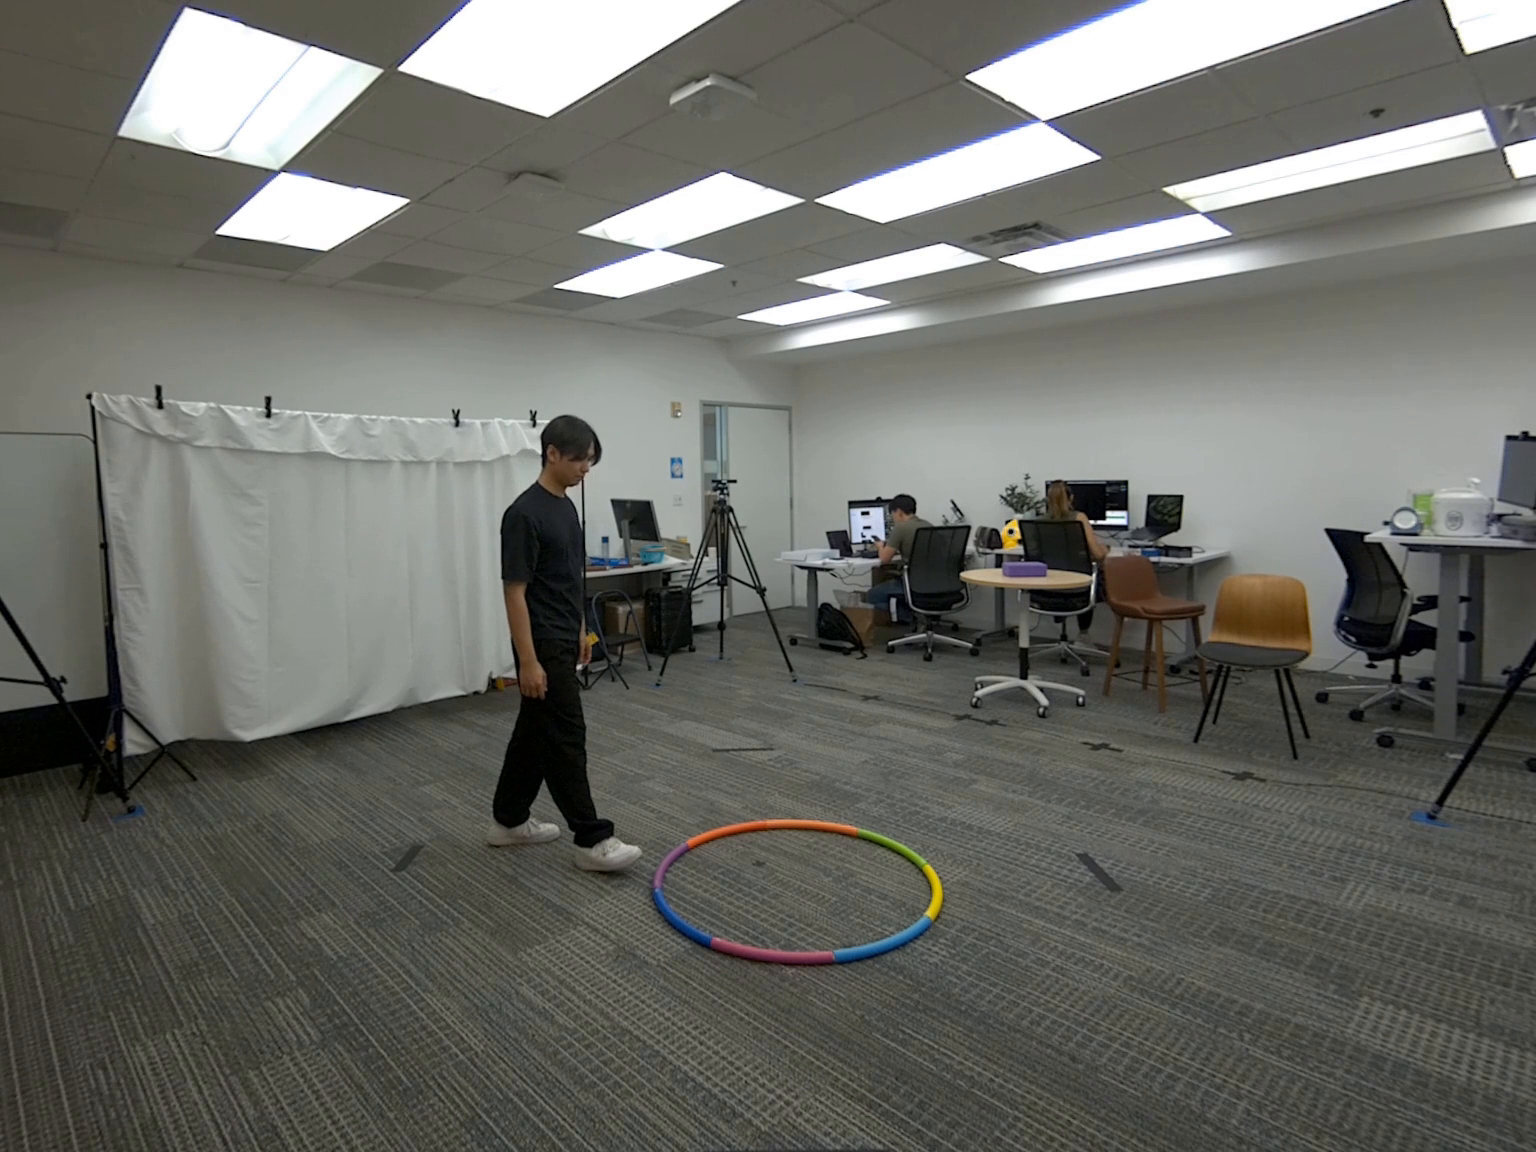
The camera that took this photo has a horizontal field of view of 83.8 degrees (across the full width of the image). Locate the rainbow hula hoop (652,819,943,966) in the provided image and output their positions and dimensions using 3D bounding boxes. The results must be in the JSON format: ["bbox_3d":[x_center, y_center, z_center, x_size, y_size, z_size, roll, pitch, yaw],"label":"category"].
[{"bbox_3d":[0.092,1.035,2.940,0.978,0.035,0.984,-2,7,-2],"label":"rainbow hula hoop"}]
